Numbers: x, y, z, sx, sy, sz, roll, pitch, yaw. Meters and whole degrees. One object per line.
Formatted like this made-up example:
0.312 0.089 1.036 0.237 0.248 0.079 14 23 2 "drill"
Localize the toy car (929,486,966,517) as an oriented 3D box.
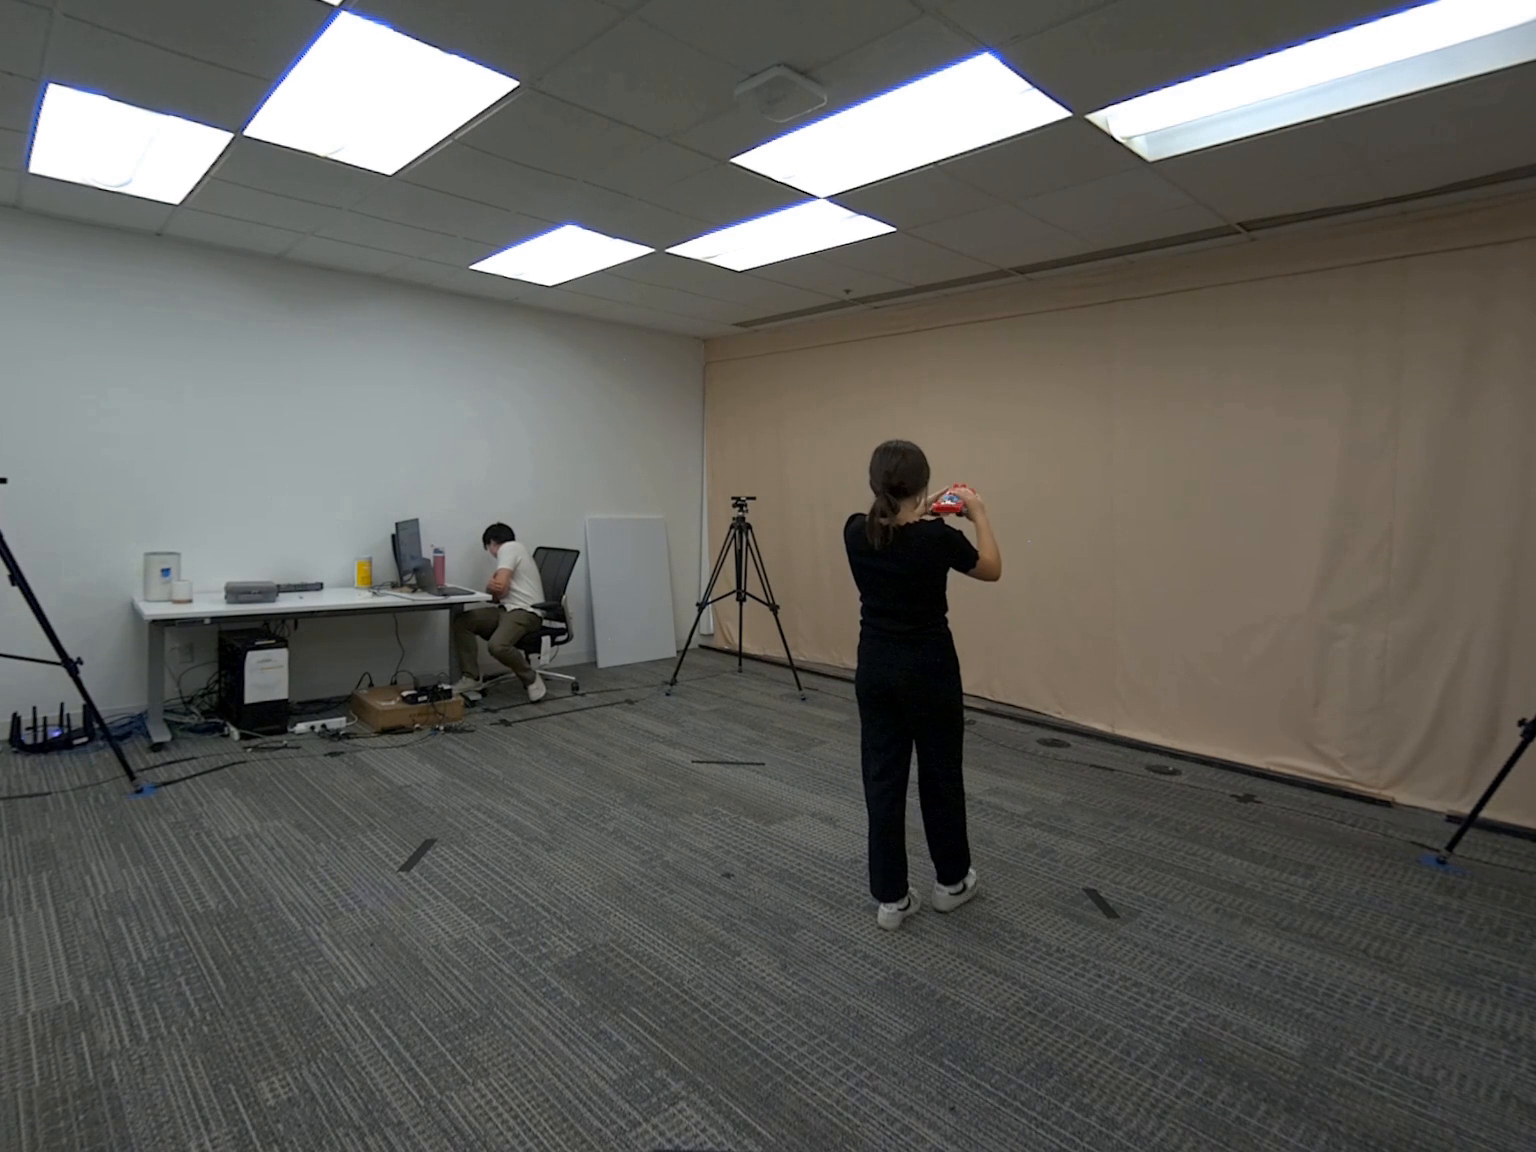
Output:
0.673 -0.273 3.052 0.133 0.081 0.254 4 31 31 "toy car"
